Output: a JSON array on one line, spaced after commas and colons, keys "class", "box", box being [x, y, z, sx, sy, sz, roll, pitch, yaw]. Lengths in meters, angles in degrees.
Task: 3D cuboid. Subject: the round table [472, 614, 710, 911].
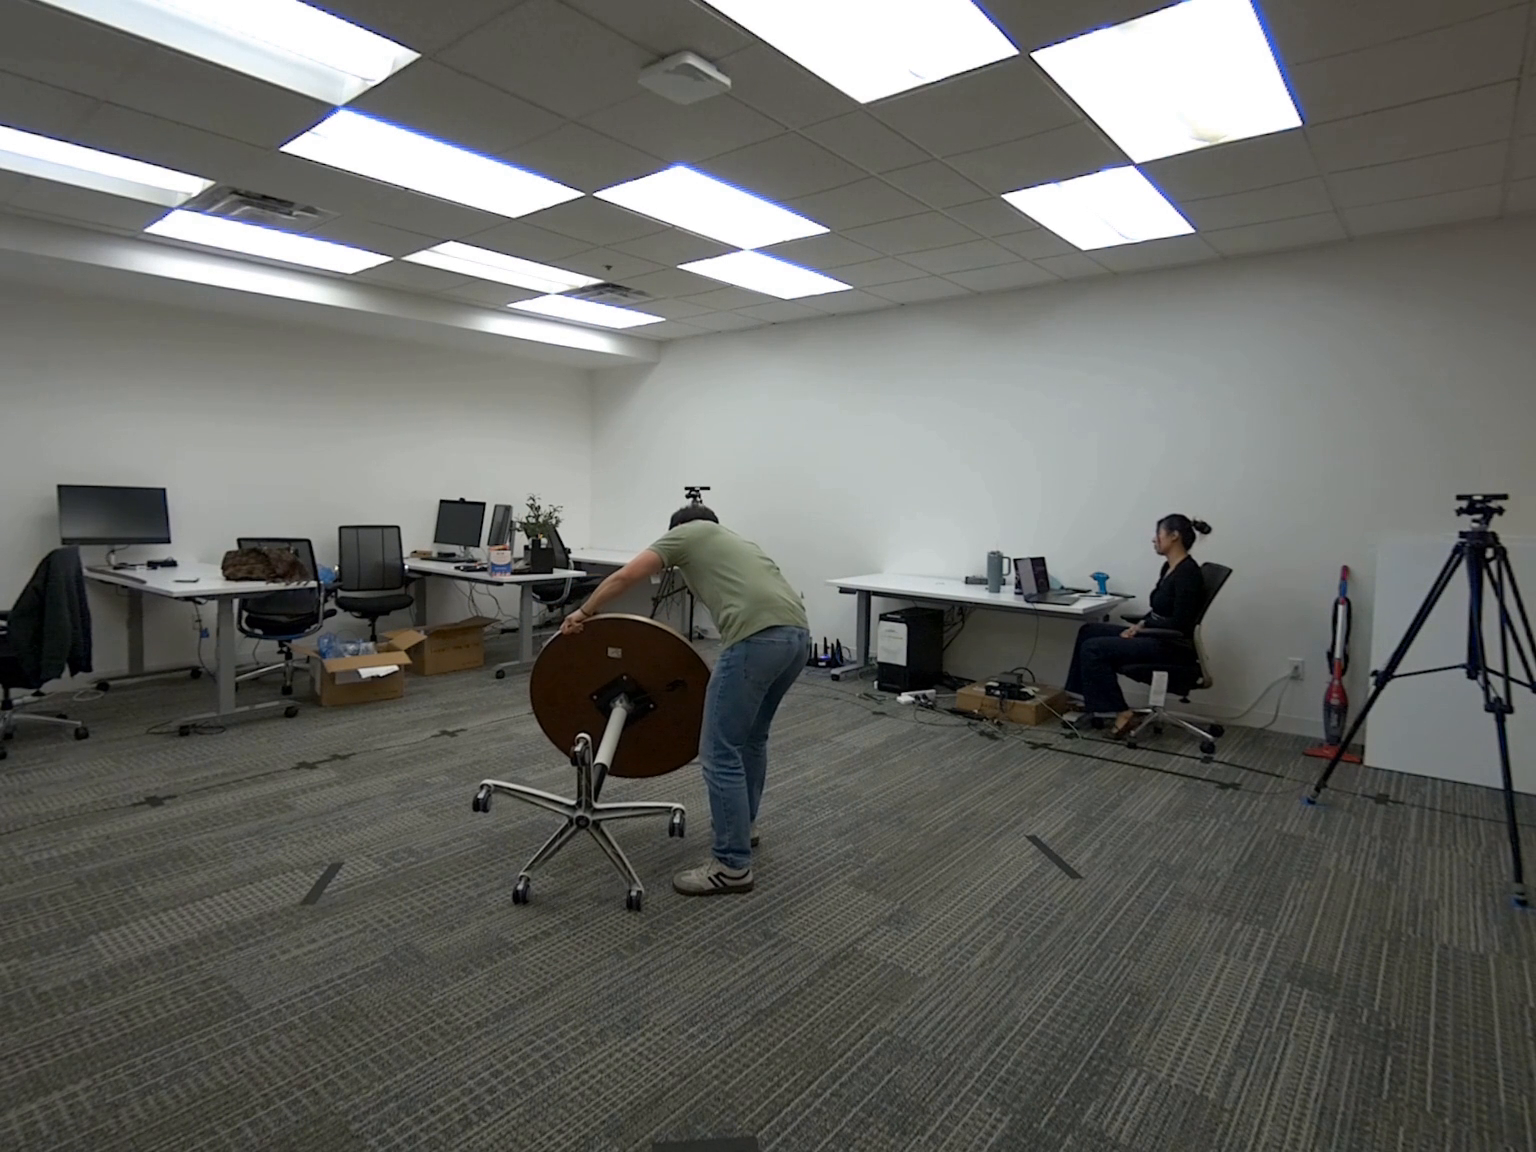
[{"class": "round table", "box": [-0.599, 0.664, 3.039, 0.768, 0.747, 0.808, 1, 25, 4]}]
